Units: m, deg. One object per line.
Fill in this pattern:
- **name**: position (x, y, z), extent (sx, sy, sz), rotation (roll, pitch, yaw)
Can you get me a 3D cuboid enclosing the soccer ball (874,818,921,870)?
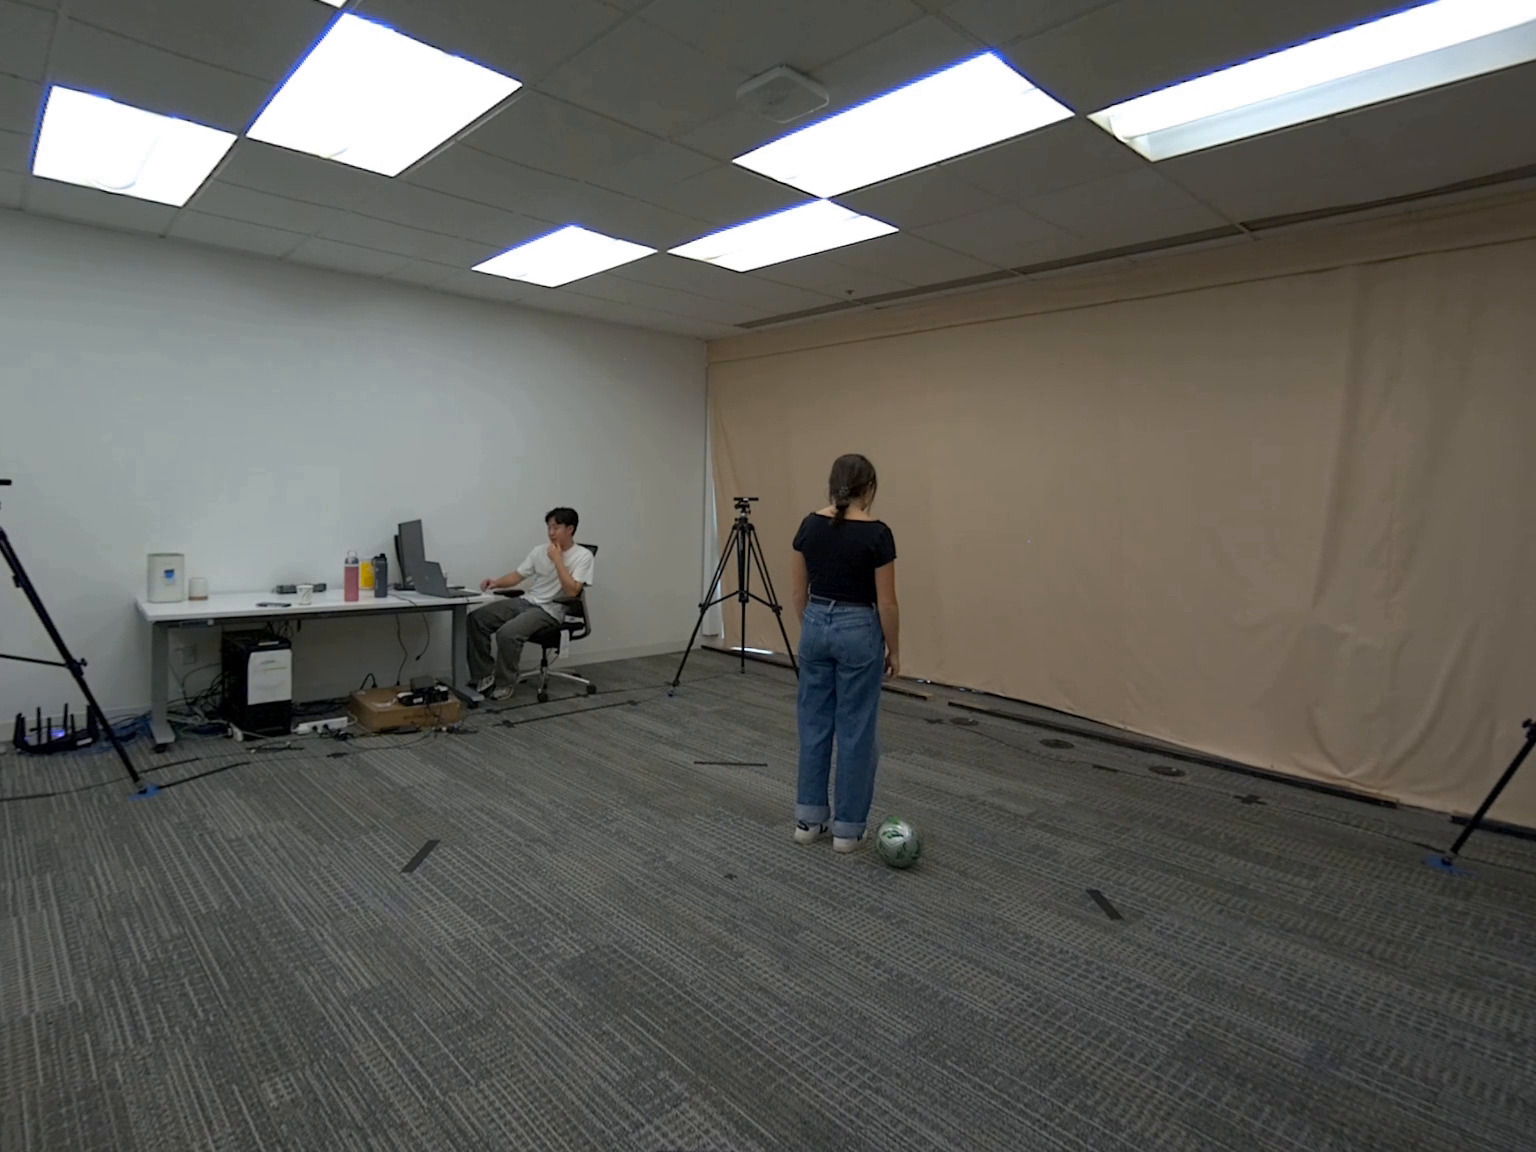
- **soccer ball**: position (0.488, 1.023, 3.227), extent (0.187, 0.187, 0.188), rotation (1, 4, -1)
